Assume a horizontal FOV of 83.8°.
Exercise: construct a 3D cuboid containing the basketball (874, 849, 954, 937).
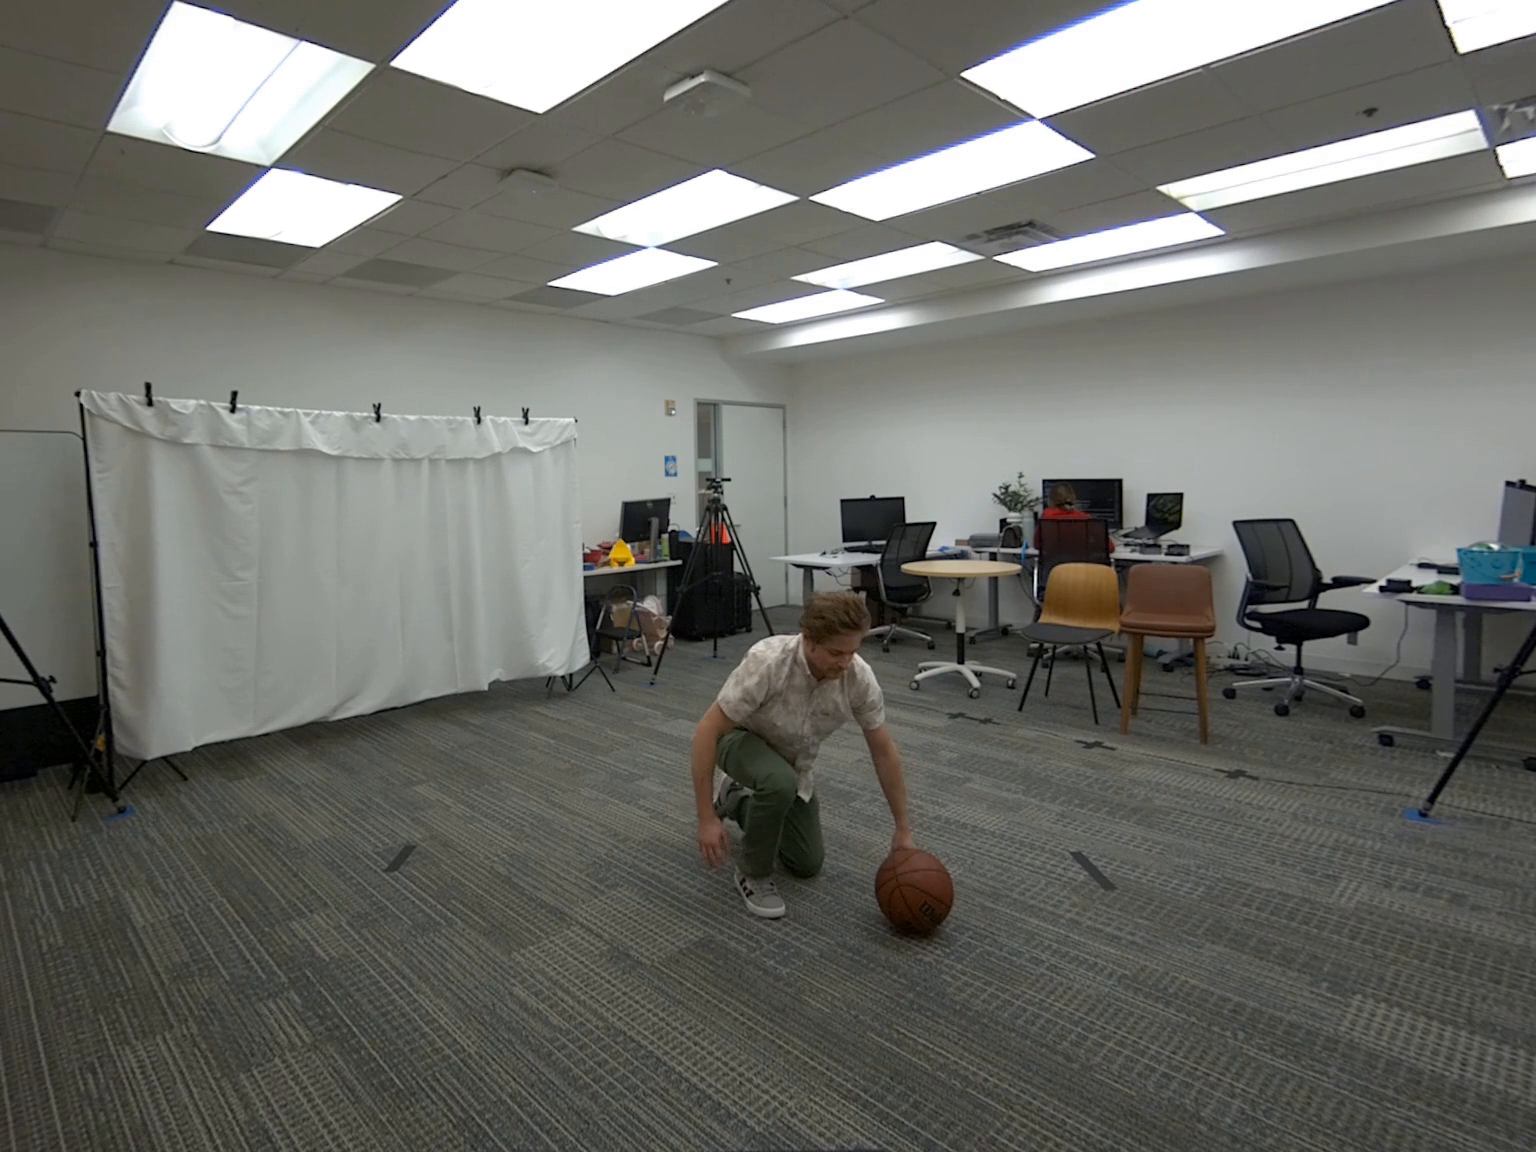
[{"bbox_3d":[0.456,0.967,2.629,0.236,0.235,0.237,-1,5,-2],"label":"basketball"}]
